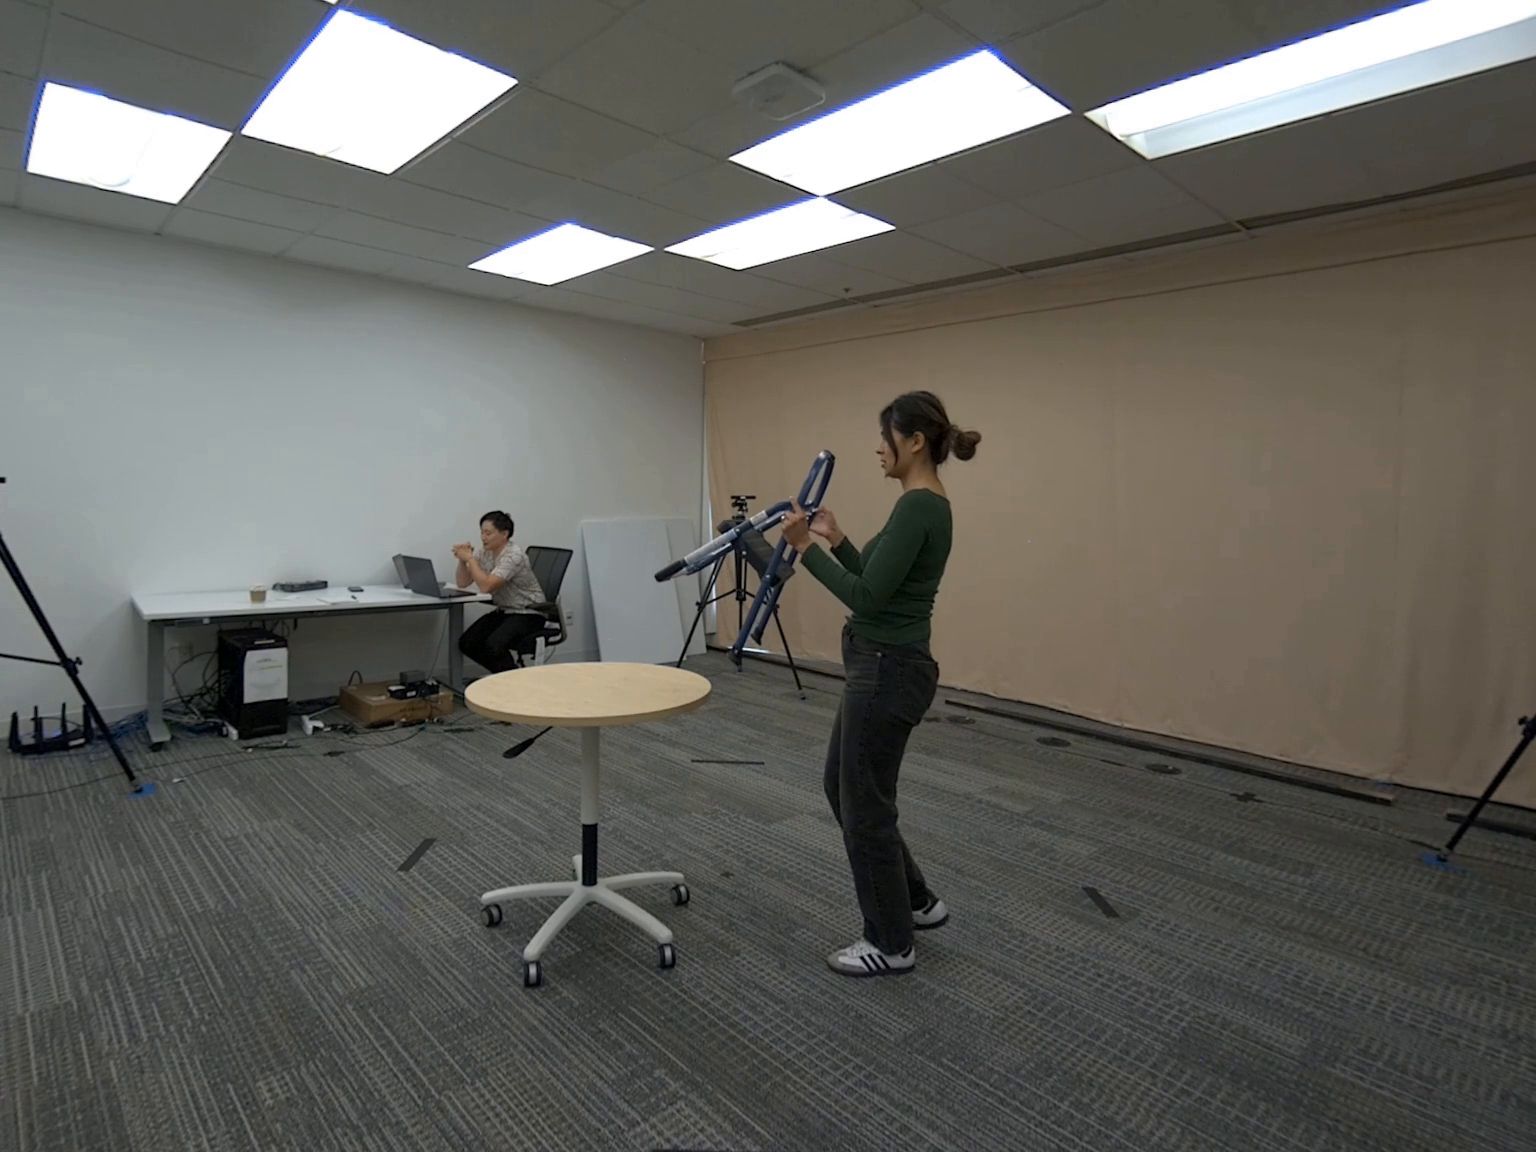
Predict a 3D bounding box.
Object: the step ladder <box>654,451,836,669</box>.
[{"bbox_3d":[0.022,-0.099,2.540,0.351,0.606,0.428,45,8,4],"label":"step ladder"}]
